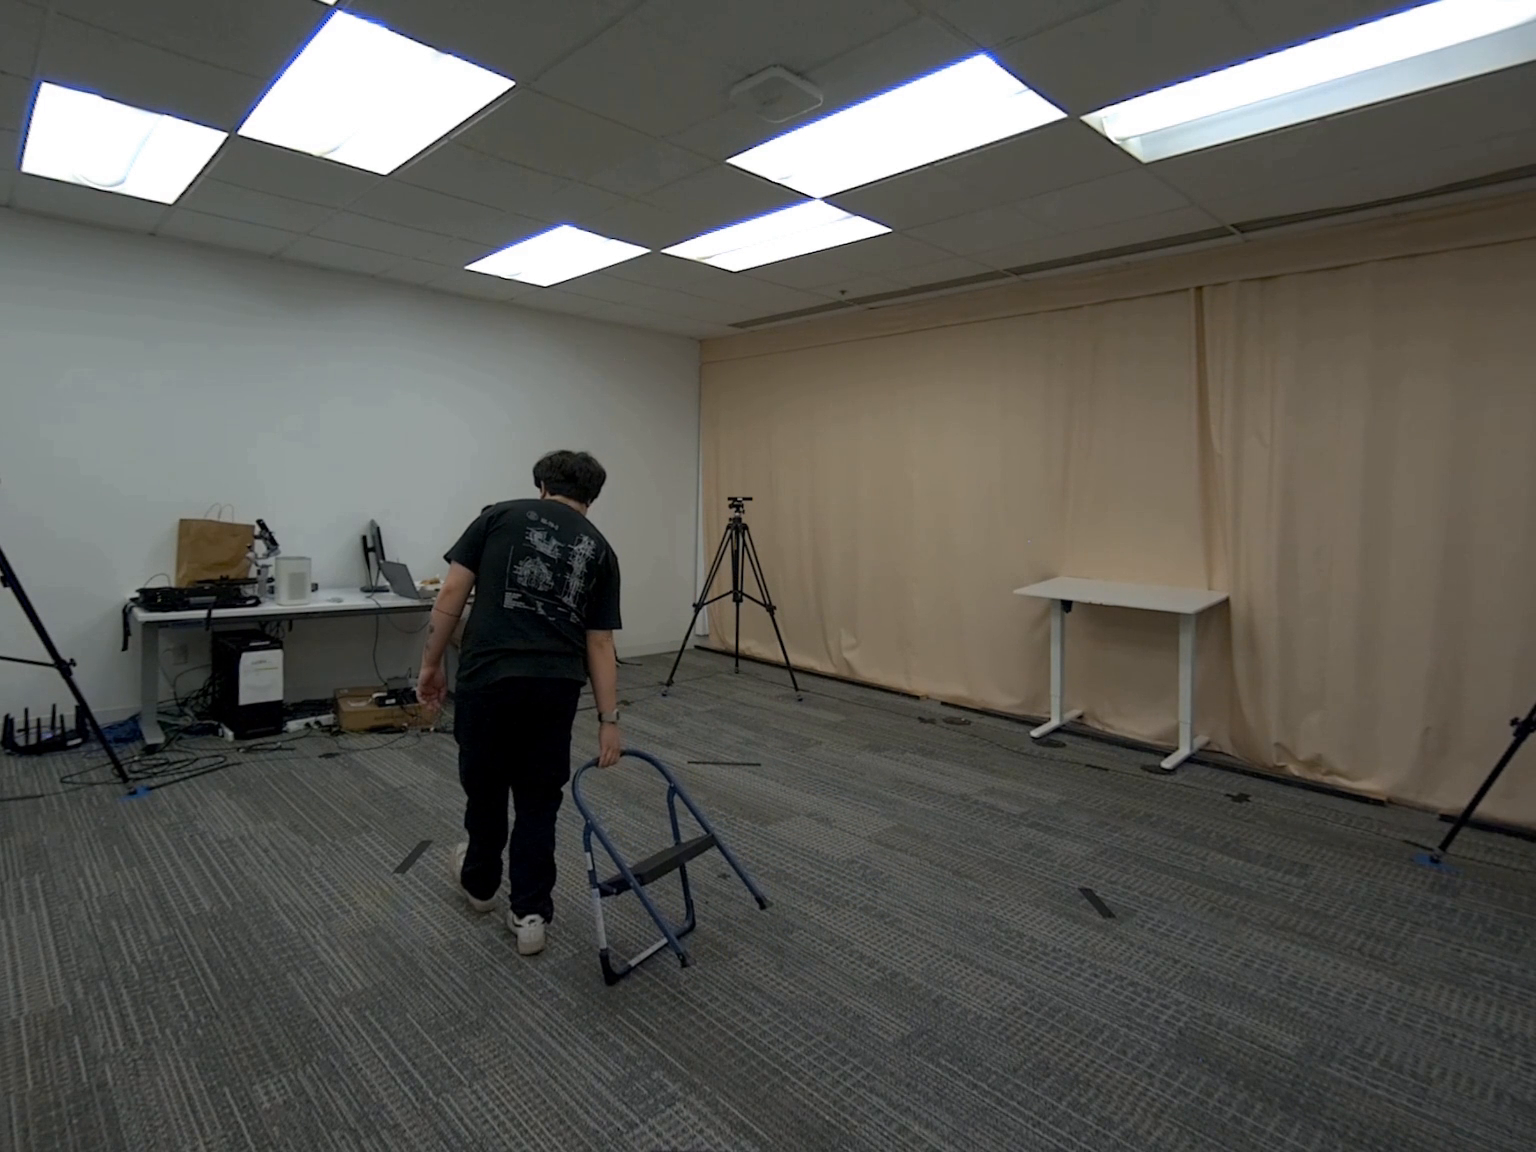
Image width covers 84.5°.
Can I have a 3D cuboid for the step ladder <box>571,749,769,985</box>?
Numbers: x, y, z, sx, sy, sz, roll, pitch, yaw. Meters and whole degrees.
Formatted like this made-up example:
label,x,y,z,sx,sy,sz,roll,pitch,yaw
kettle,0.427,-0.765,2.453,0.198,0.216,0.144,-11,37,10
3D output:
label,x,y,z,sx,sy,sz,roll,pitch,yaw
step ladder,-0.346,0.816,2.537,0.352,0.614,0.421,-30,-14,30
